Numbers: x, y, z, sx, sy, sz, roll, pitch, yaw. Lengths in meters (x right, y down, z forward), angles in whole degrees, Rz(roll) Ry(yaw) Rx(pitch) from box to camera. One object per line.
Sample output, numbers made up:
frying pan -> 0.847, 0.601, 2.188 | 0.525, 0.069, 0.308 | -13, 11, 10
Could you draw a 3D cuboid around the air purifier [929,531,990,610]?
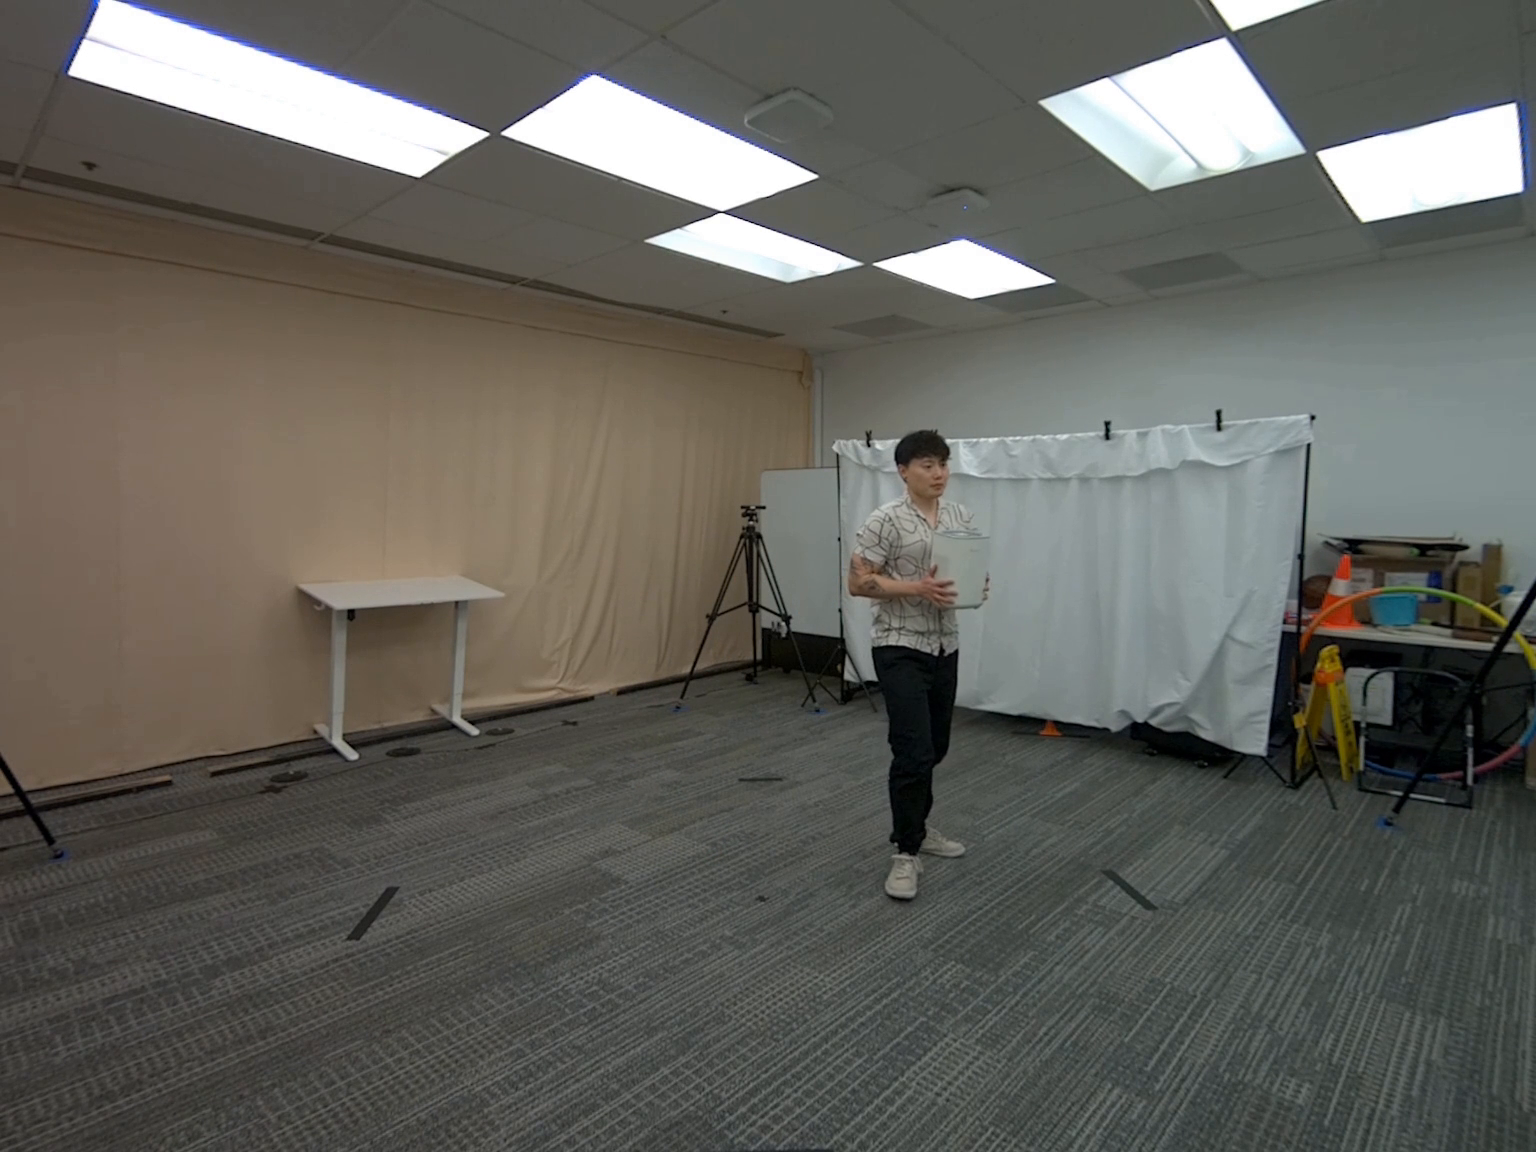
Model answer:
air purifier -> 0.692, -0.023, 3.120 | 0.172, 0.264, 0.171 | 2, 9, 4
